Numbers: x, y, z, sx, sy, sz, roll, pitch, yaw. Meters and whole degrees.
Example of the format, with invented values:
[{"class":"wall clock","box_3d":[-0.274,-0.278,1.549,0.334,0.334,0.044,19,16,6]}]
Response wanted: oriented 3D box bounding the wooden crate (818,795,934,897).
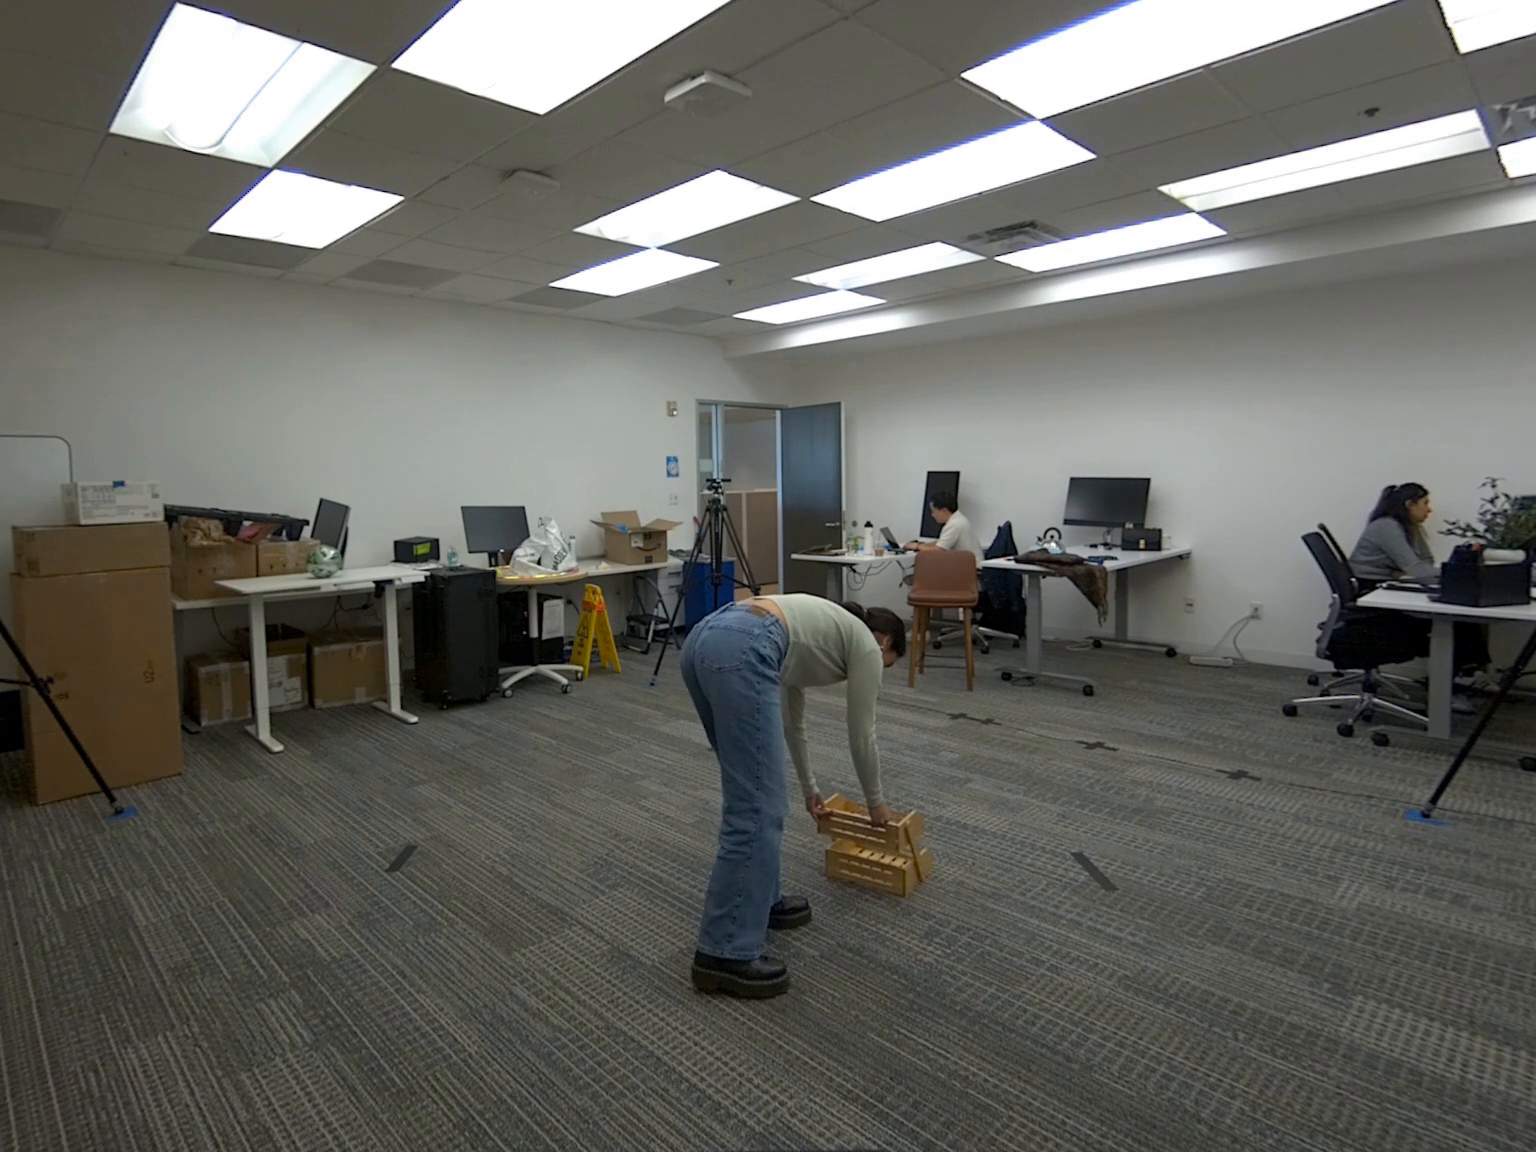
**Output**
[{"class":"wooden crate","box_3d":[0.386,0.917,2.995,0.333,0.272,0.295,3,7,34]}]
